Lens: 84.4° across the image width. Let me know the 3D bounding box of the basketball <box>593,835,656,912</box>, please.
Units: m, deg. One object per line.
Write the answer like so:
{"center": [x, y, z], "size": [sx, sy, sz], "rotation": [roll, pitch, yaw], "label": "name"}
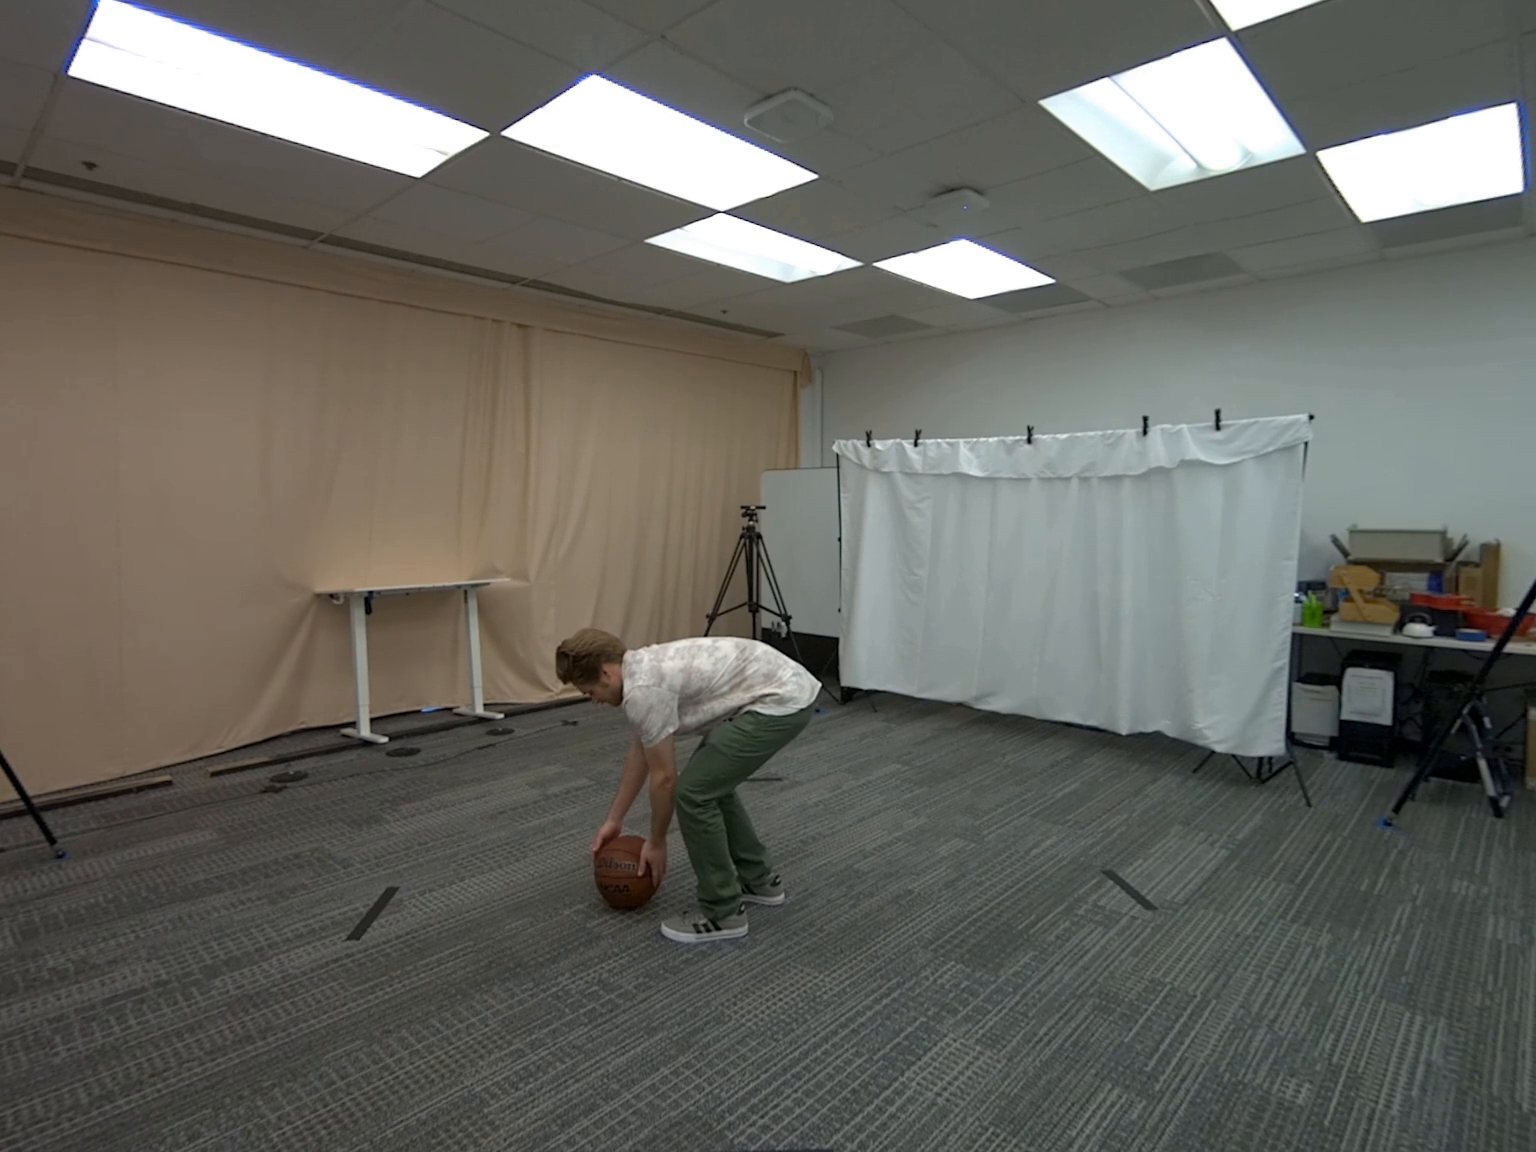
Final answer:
{"center": [-0.487, 1.032, 2.946], "size": [0.236, 0.235, 0.237], "rotation": [0, 4, -2], "label": "basketball"}
